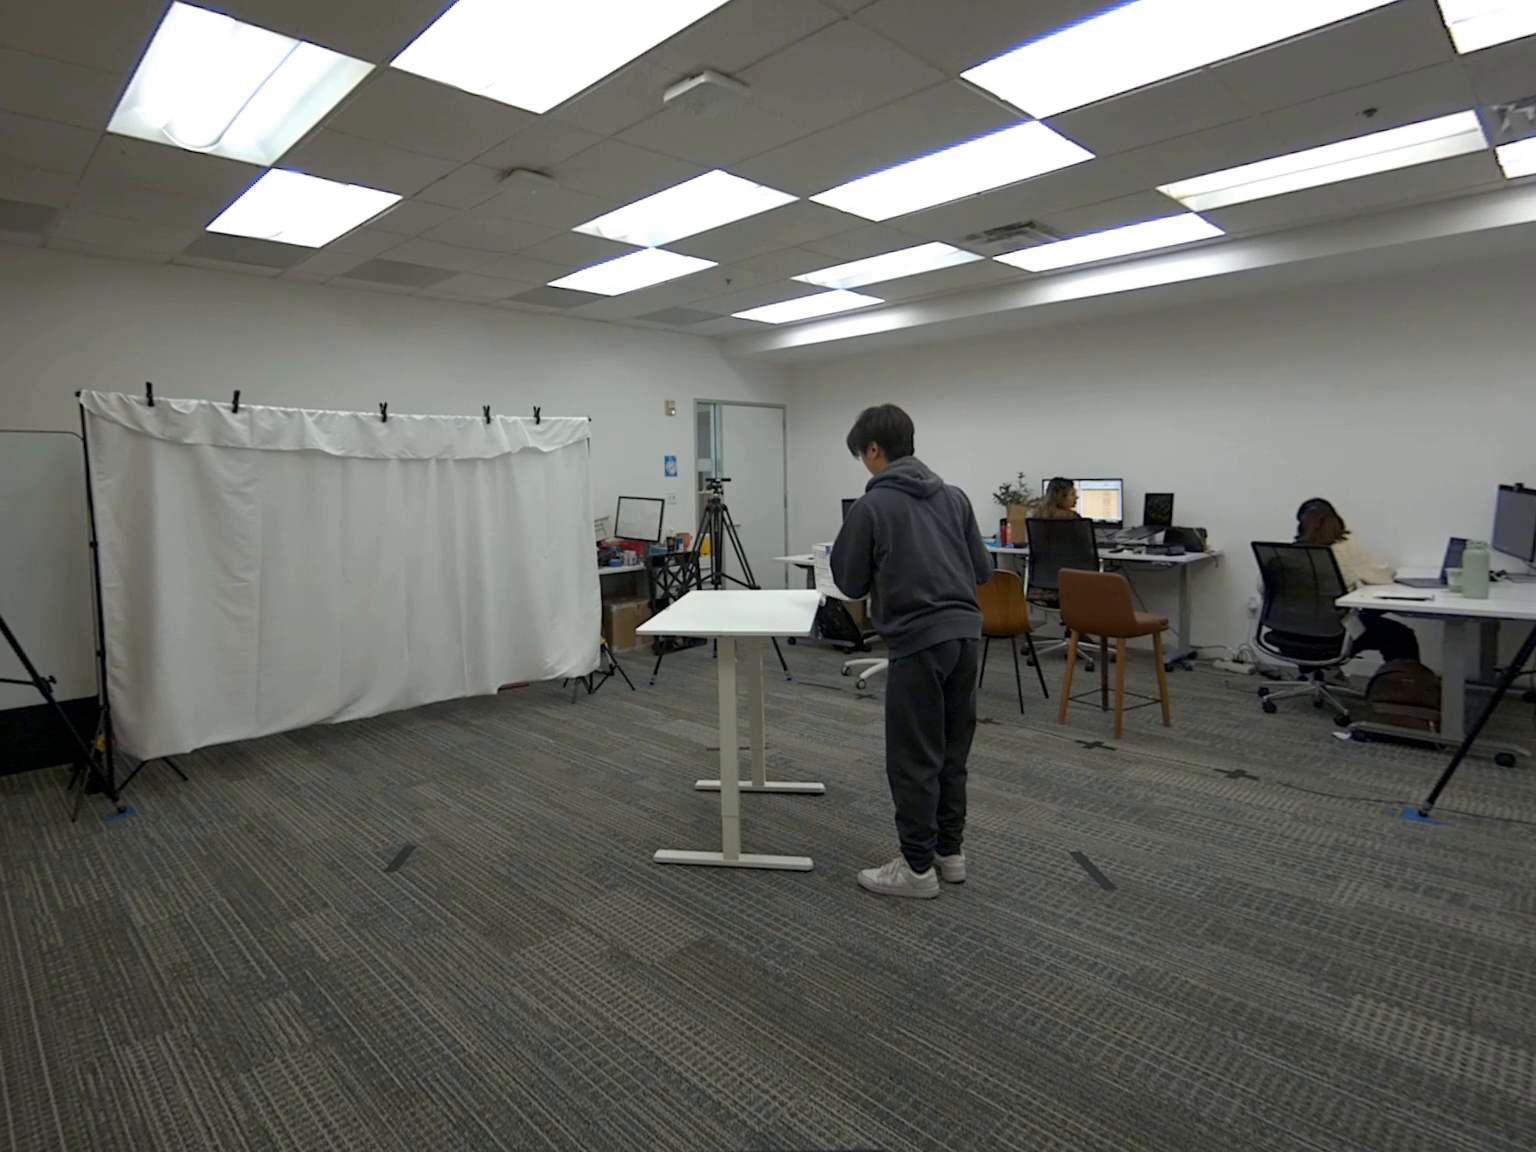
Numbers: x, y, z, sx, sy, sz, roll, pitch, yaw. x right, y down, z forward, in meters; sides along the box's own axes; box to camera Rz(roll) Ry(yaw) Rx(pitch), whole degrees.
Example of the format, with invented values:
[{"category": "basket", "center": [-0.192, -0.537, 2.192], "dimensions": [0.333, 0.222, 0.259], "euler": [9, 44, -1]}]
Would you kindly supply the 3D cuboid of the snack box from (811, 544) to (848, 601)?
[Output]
[{"category": "snack box", "center": [0.434, -0.033, 3.428], "dimensions": [0.400, 0.205, 0.346], "euler": [-8, 6, -17]}]
